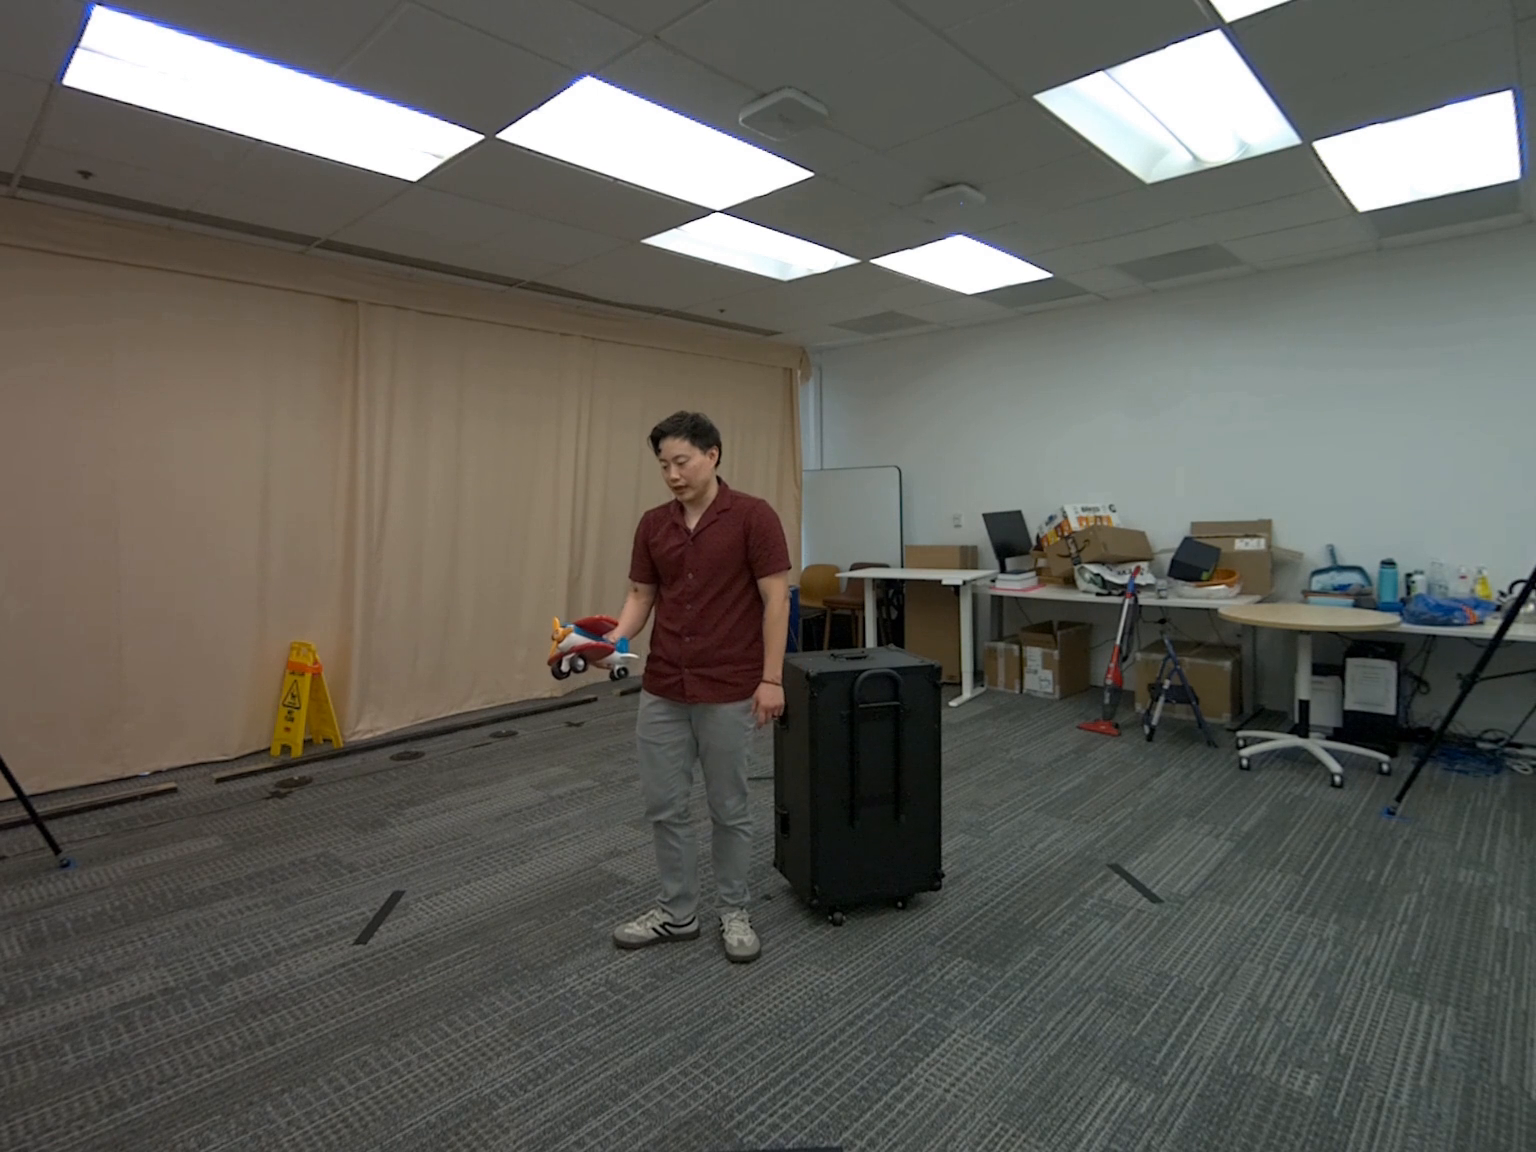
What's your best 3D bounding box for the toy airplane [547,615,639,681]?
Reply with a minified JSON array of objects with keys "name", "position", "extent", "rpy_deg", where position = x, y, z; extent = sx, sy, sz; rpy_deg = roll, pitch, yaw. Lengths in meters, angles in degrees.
[{"name":"toy airplane","position":[-0.520,0.222,2.419],"extent":[0.254,0.158,0.253],"rpy_deg":[-11,-16,13]}]
